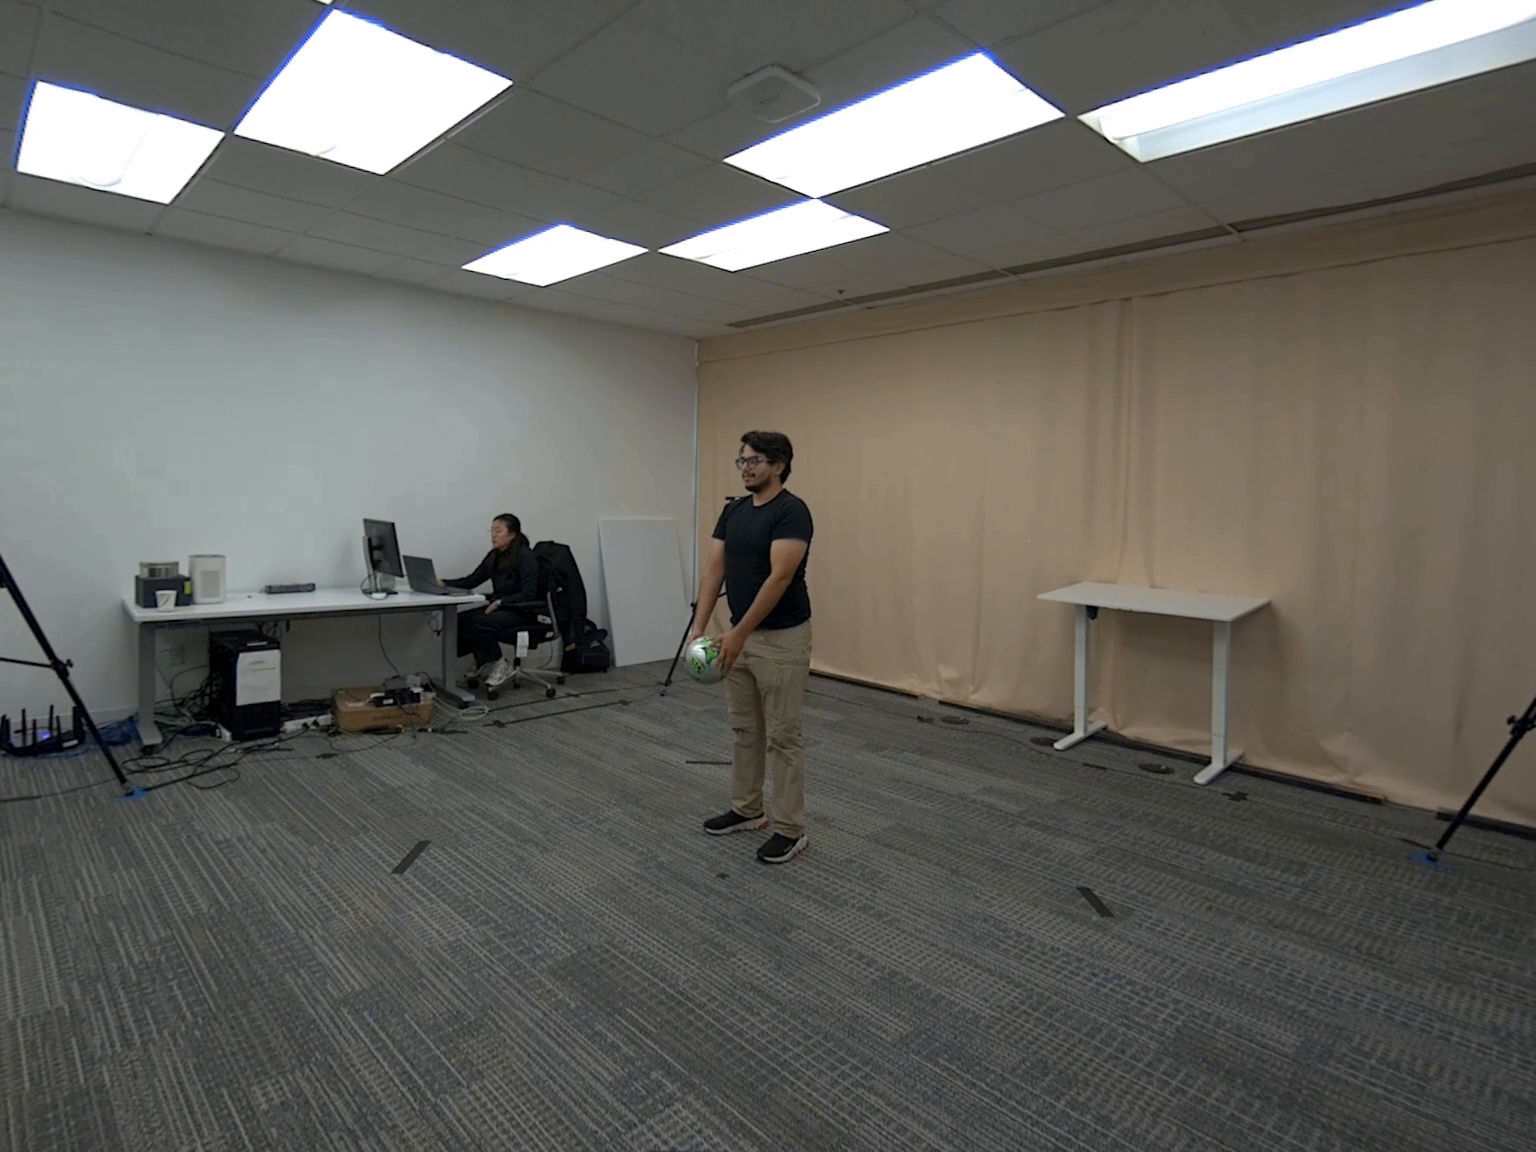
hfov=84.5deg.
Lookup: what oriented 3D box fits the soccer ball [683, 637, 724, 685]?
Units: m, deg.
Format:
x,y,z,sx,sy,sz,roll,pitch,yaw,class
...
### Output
x,y,z,sx,sy,sz,roll,pitch,yaw,class
-0.238,0.319,3.257,0.187,0.187,0.188,1,4,-1,soccer ball
